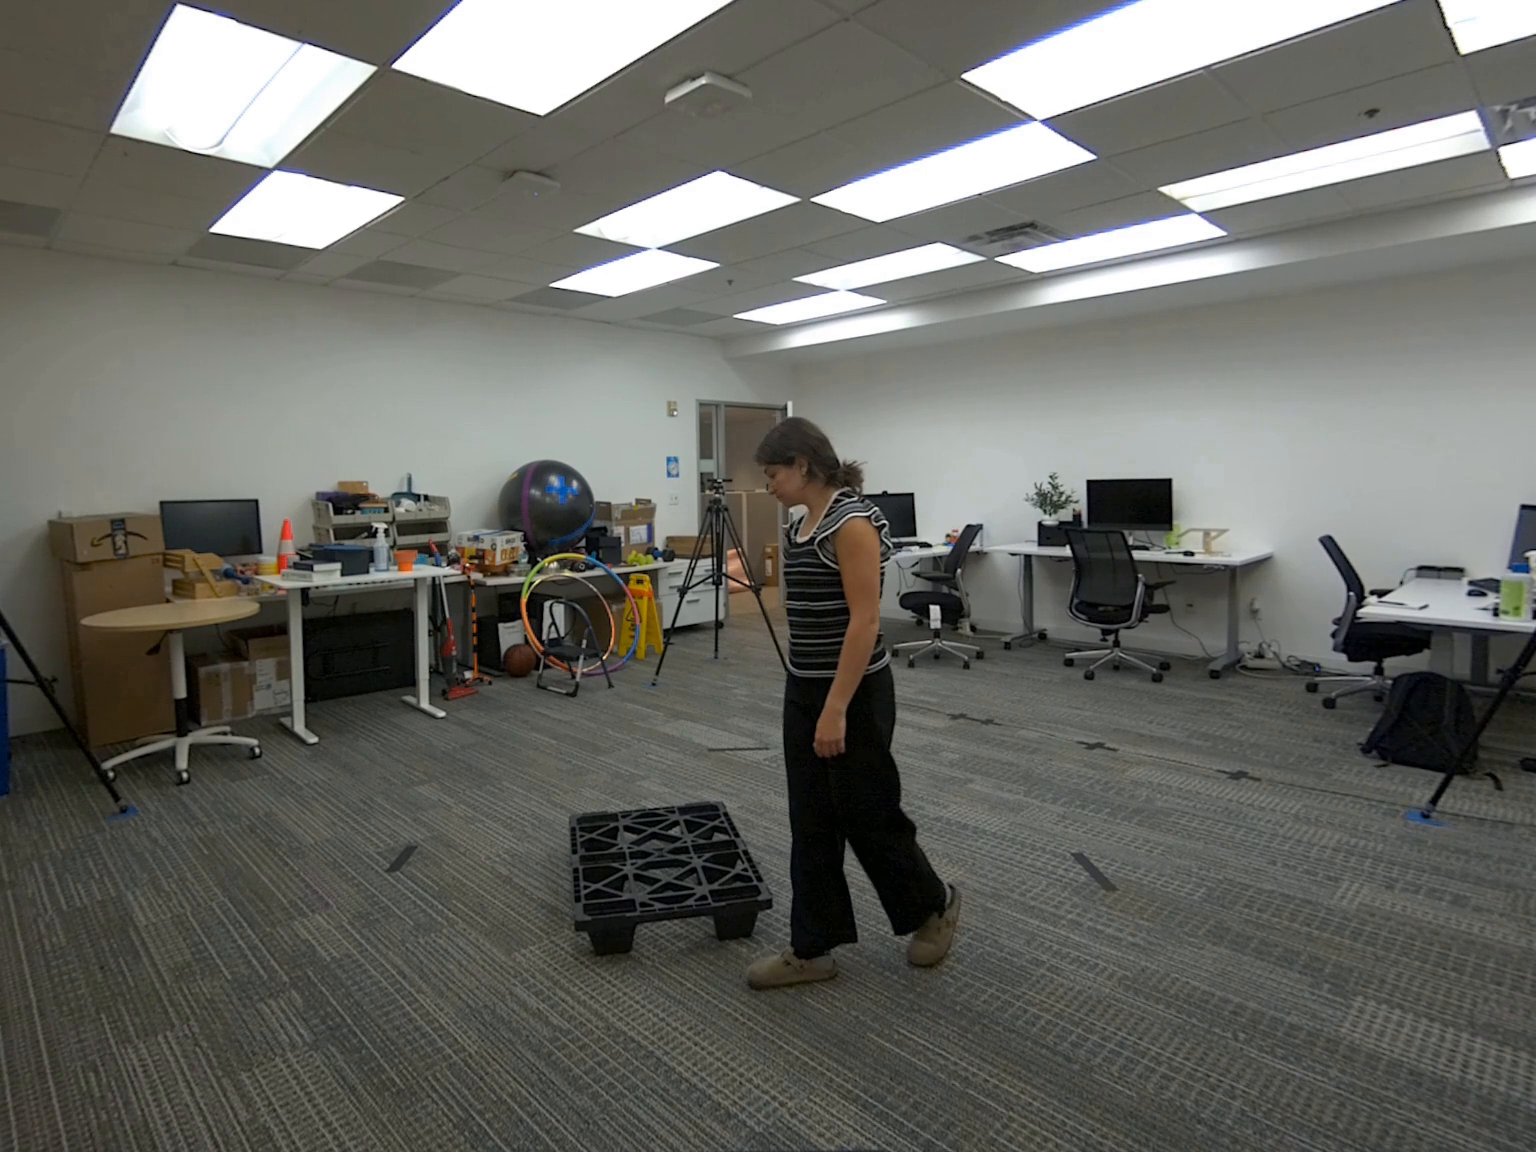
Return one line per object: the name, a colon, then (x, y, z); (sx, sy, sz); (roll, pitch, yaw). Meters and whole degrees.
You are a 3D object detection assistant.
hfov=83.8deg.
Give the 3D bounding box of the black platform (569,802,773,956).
black platform: (-0.368, 1.006, 2.915); (0.598, 0.142, 0.819); (-4, 7, -13)
